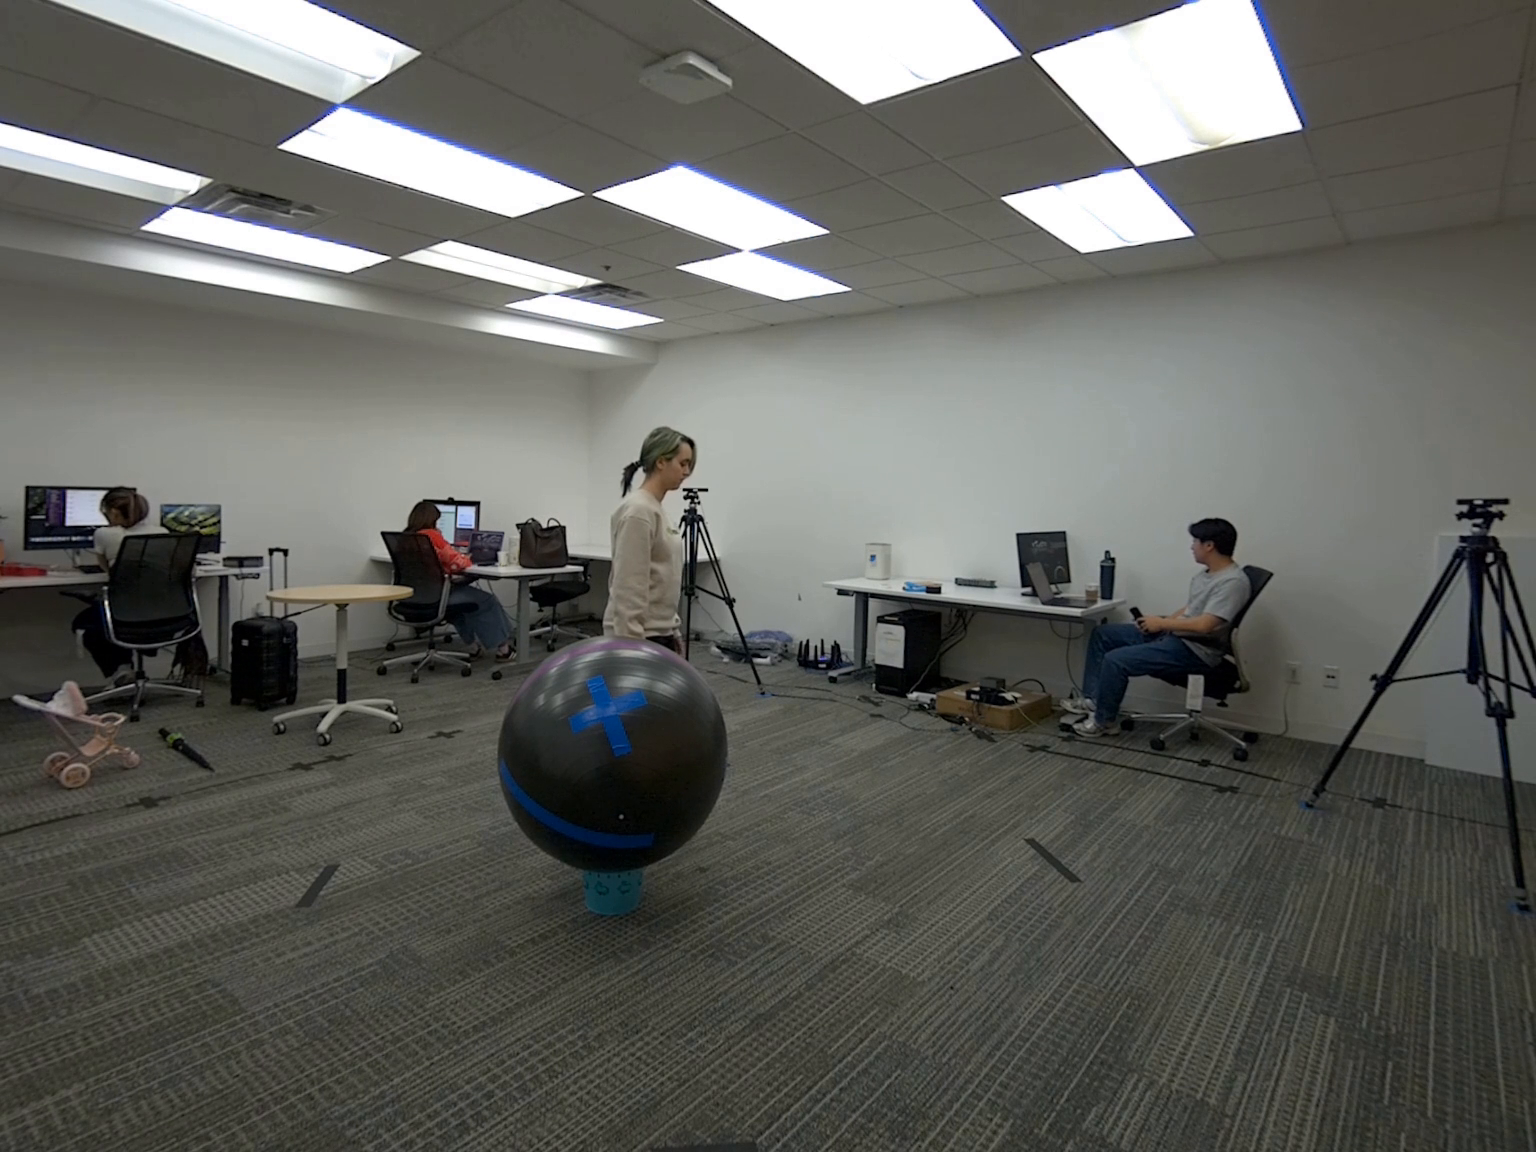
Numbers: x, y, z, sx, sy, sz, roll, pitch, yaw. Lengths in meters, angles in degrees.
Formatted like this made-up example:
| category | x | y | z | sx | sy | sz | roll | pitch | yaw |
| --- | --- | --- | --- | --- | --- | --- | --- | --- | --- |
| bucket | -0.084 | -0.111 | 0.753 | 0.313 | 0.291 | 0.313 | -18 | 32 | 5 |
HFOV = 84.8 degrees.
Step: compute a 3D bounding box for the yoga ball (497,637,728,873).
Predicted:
| category | x | y | z | sx | sy | sz | roll | pitch | yaw |
| --- | --- | --- | --- | --- | --- | --- | --- | --- | --- |
| yoga ball | -0.520 | 0.583 | 2.825 | 0.757 | 0.755 | 0.762 | 1 | 4 | -2 |
